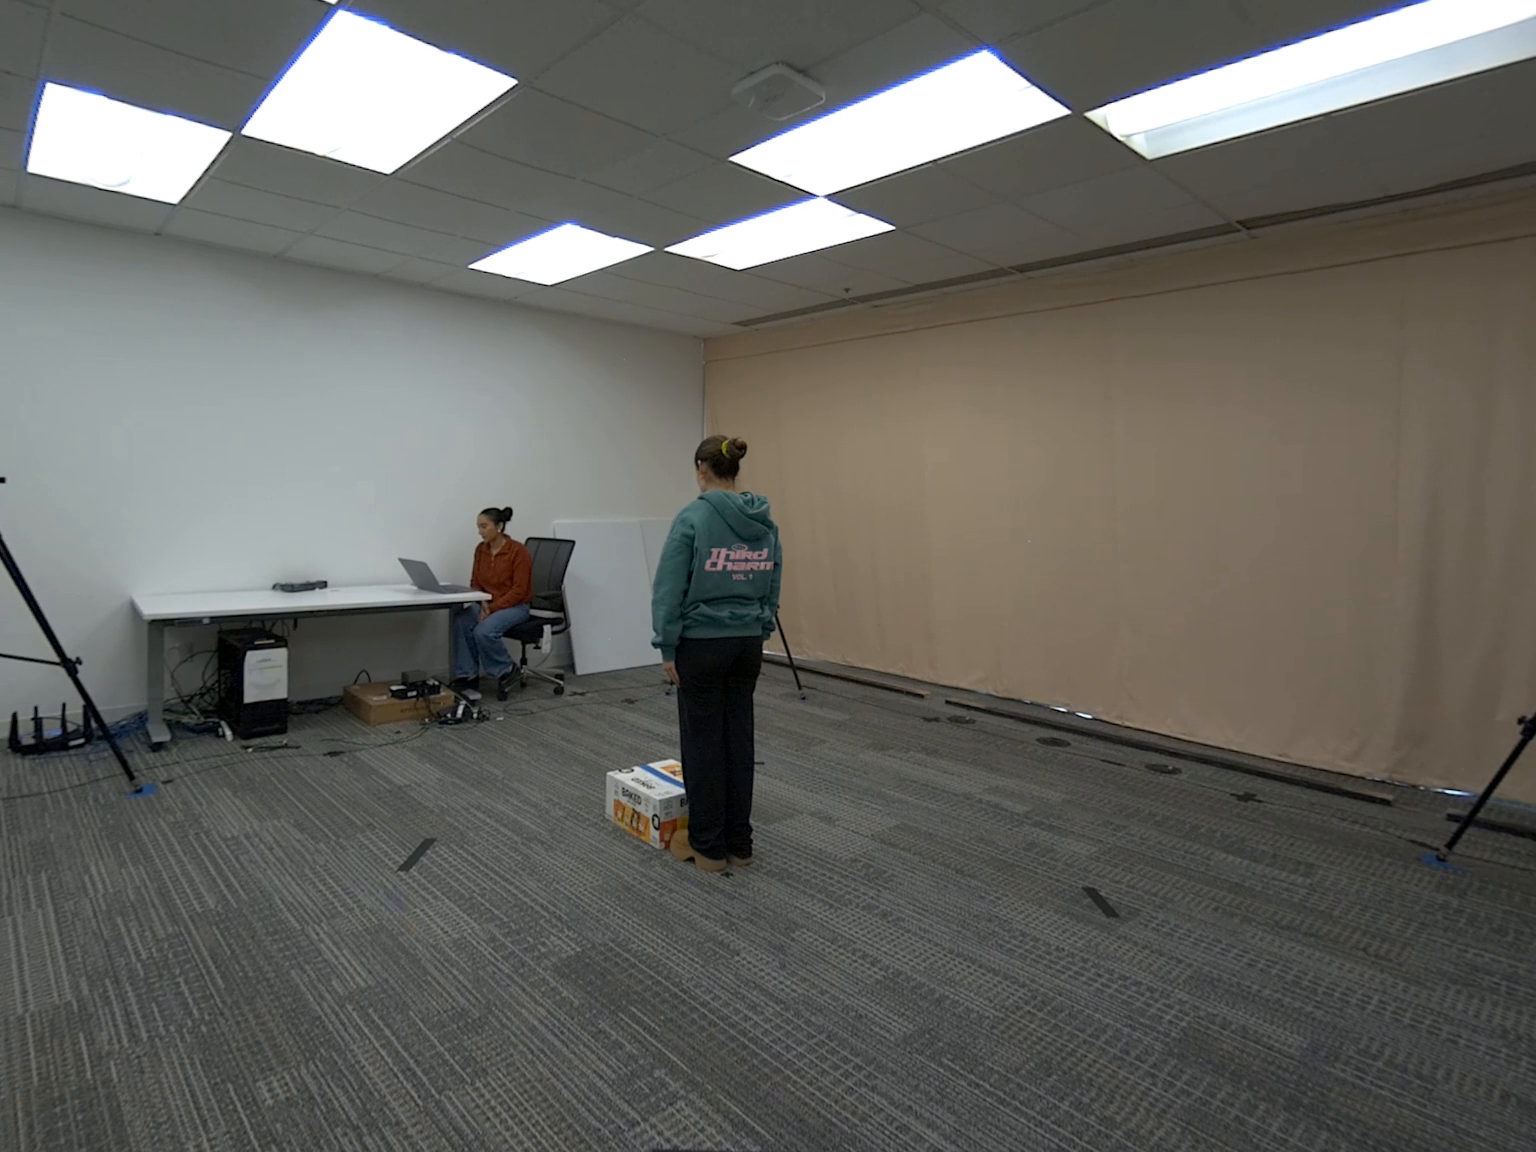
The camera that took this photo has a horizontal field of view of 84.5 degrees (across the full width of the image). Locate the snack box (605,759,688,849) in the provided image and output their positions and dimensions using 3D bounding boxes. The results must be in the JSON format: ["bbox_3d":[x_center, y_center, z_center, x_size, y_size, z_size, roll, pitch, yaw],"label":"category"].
[{"bbox_3d":[-0.443,0.955,3.560,0.332,0.205,0.415,-2,6,-40],"label":"snack box"}]
